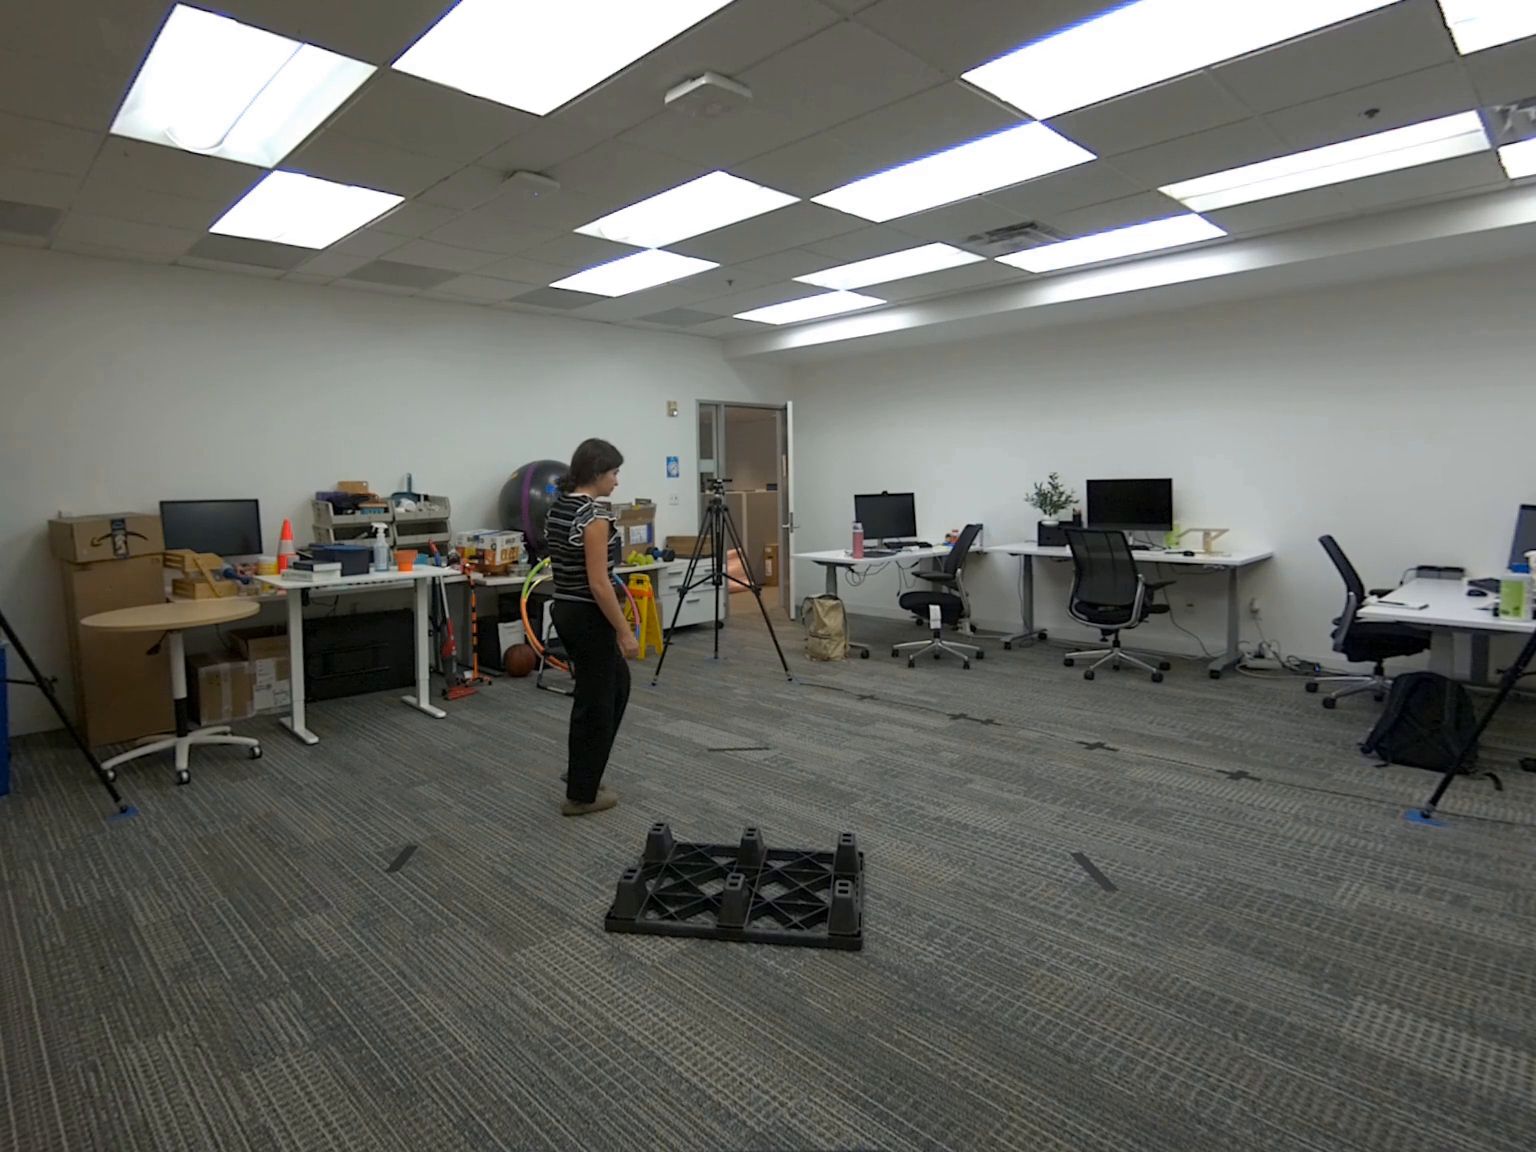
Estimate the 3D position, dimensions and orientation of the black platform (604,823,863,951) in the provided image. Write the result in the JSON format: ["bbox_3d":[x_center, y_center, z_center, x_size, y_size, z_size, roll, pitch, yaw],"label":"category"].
[{"bbox_3d":[-0.082,1.005,2.869,0.813,0.143,0.602,0,6,8],"label":"black platform"}]
